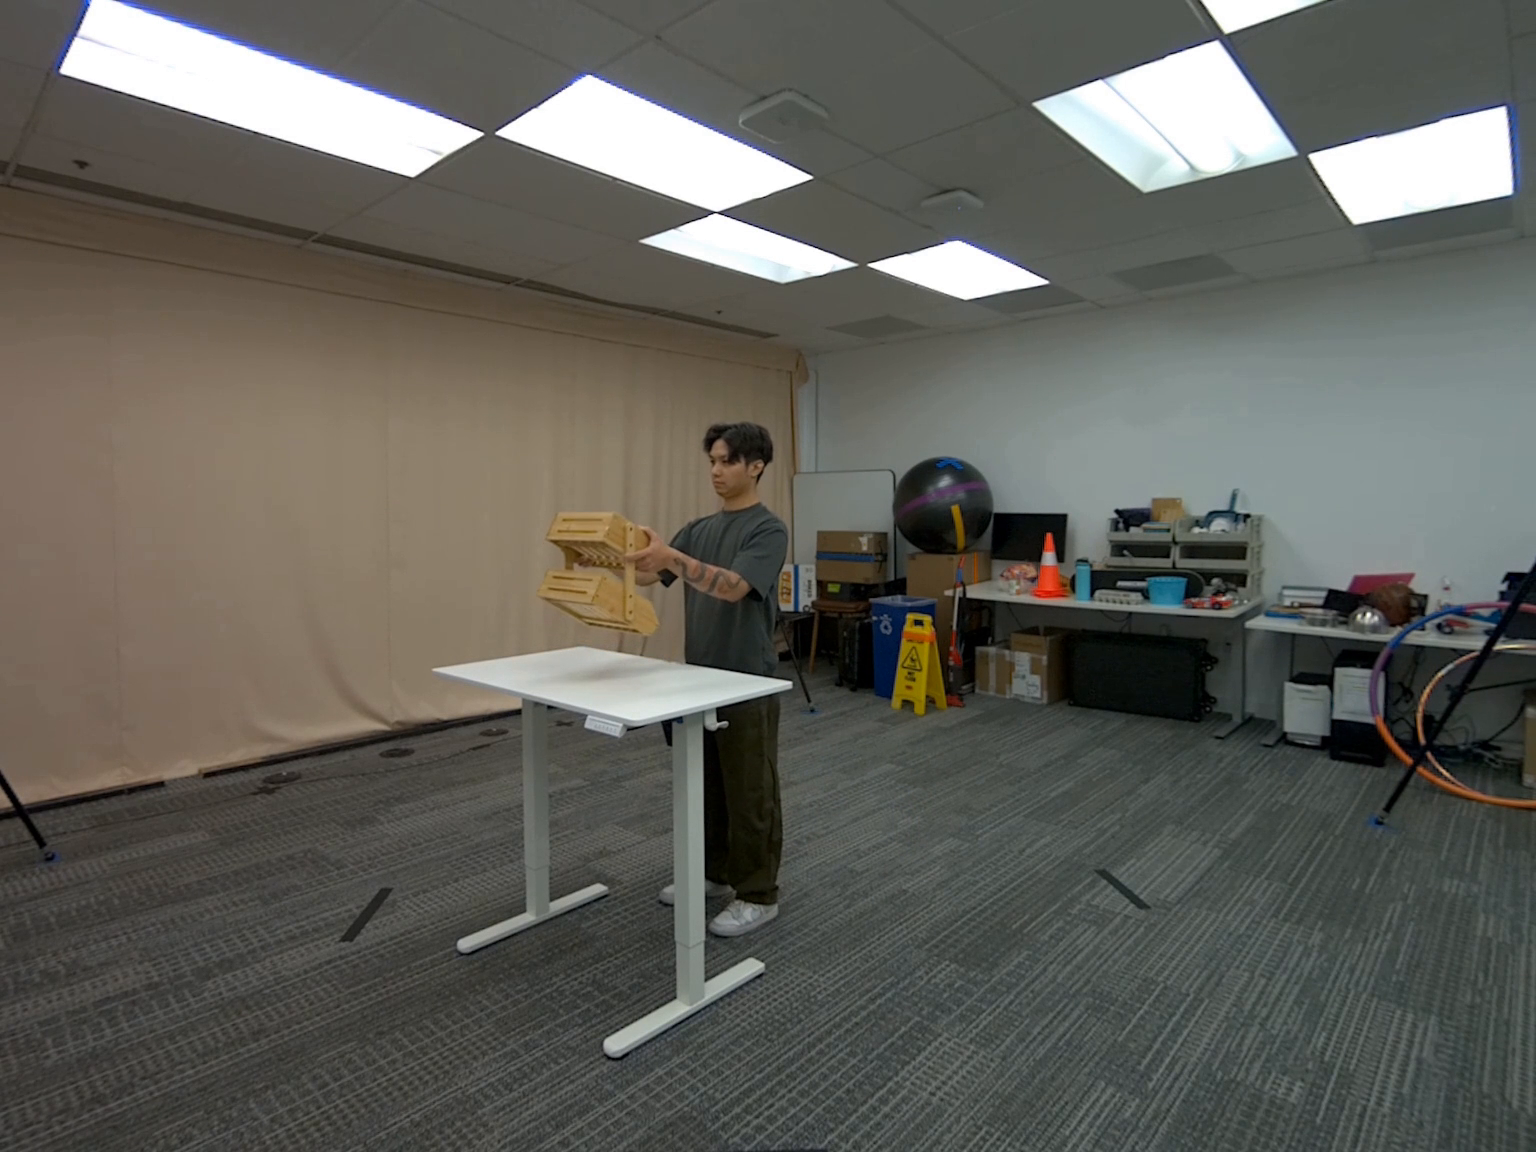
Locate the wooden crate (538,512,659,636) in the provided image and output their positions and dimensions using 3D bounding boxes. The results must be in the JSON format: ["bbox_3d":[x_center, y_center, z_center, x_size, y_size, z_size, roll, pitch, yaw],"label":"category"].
[{"bbox_3d":[-0.488,-0.009,2.536,0.335,0.274,0.291,3,-25,44],"label":"wooden crate"}]
